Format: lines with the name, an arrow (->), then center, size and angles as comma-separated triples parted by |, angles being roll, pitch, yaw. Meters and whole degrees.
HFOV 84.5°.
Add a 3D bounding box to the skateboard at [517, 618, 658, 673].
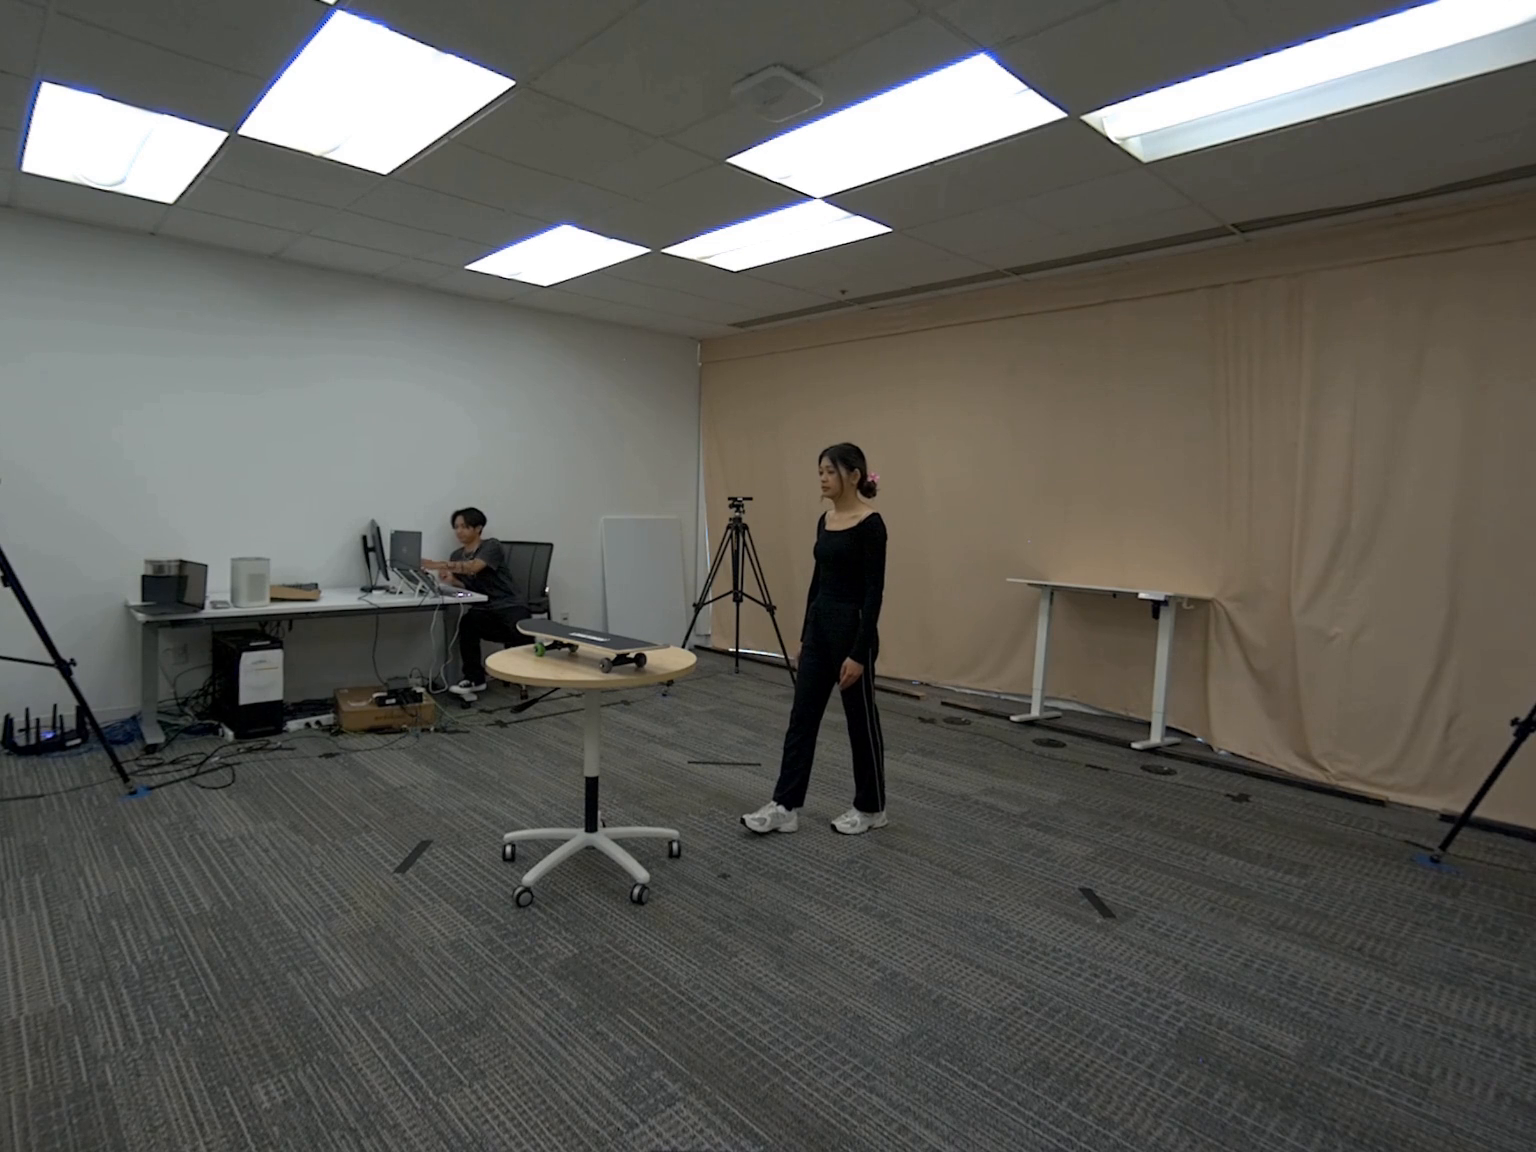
skateboard -> -0.662, 0.263, 3.038 | 0.806, 0.110, 0.189 | 6, 9, 42
